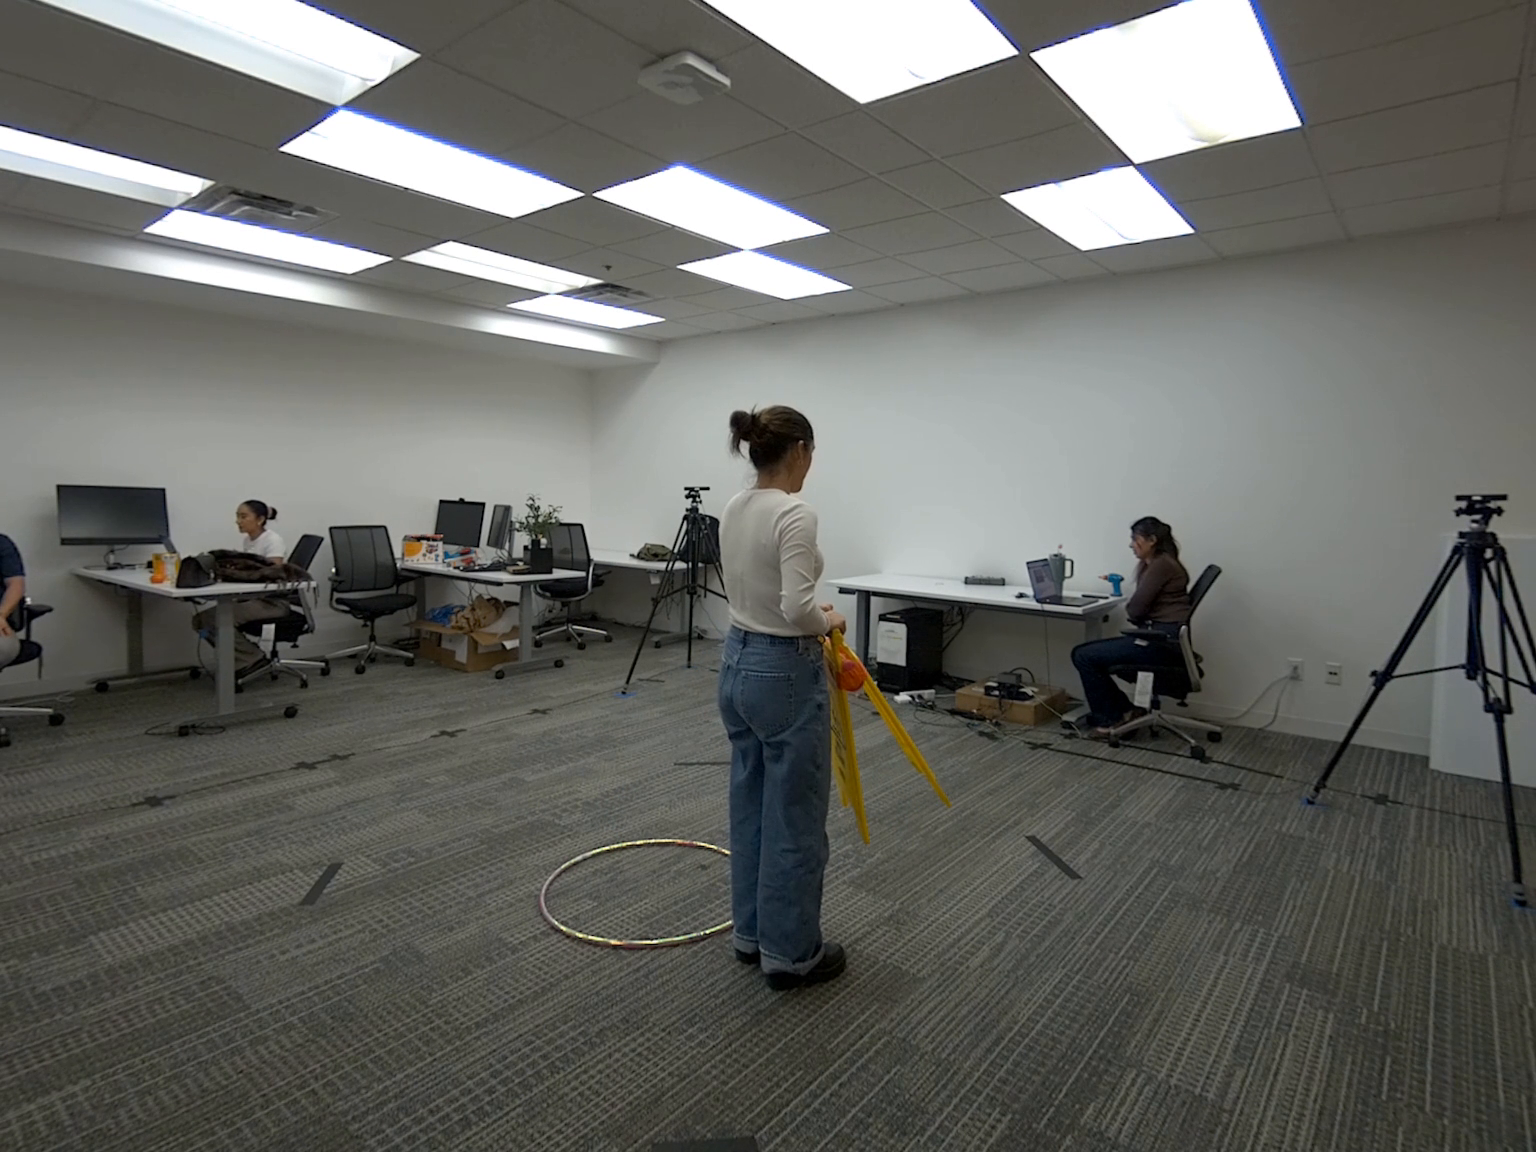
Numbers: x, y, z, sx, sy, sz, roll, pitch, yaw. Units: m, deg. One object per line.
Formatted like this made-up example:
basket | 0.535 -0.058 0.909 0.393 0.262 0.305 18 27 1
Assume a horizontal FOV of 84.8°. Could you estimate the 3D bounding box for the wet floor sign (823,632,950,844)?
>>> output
wet floor sign | 0.264 0.409 2.518 0.289 0.634 0.288 -21 15 -4
